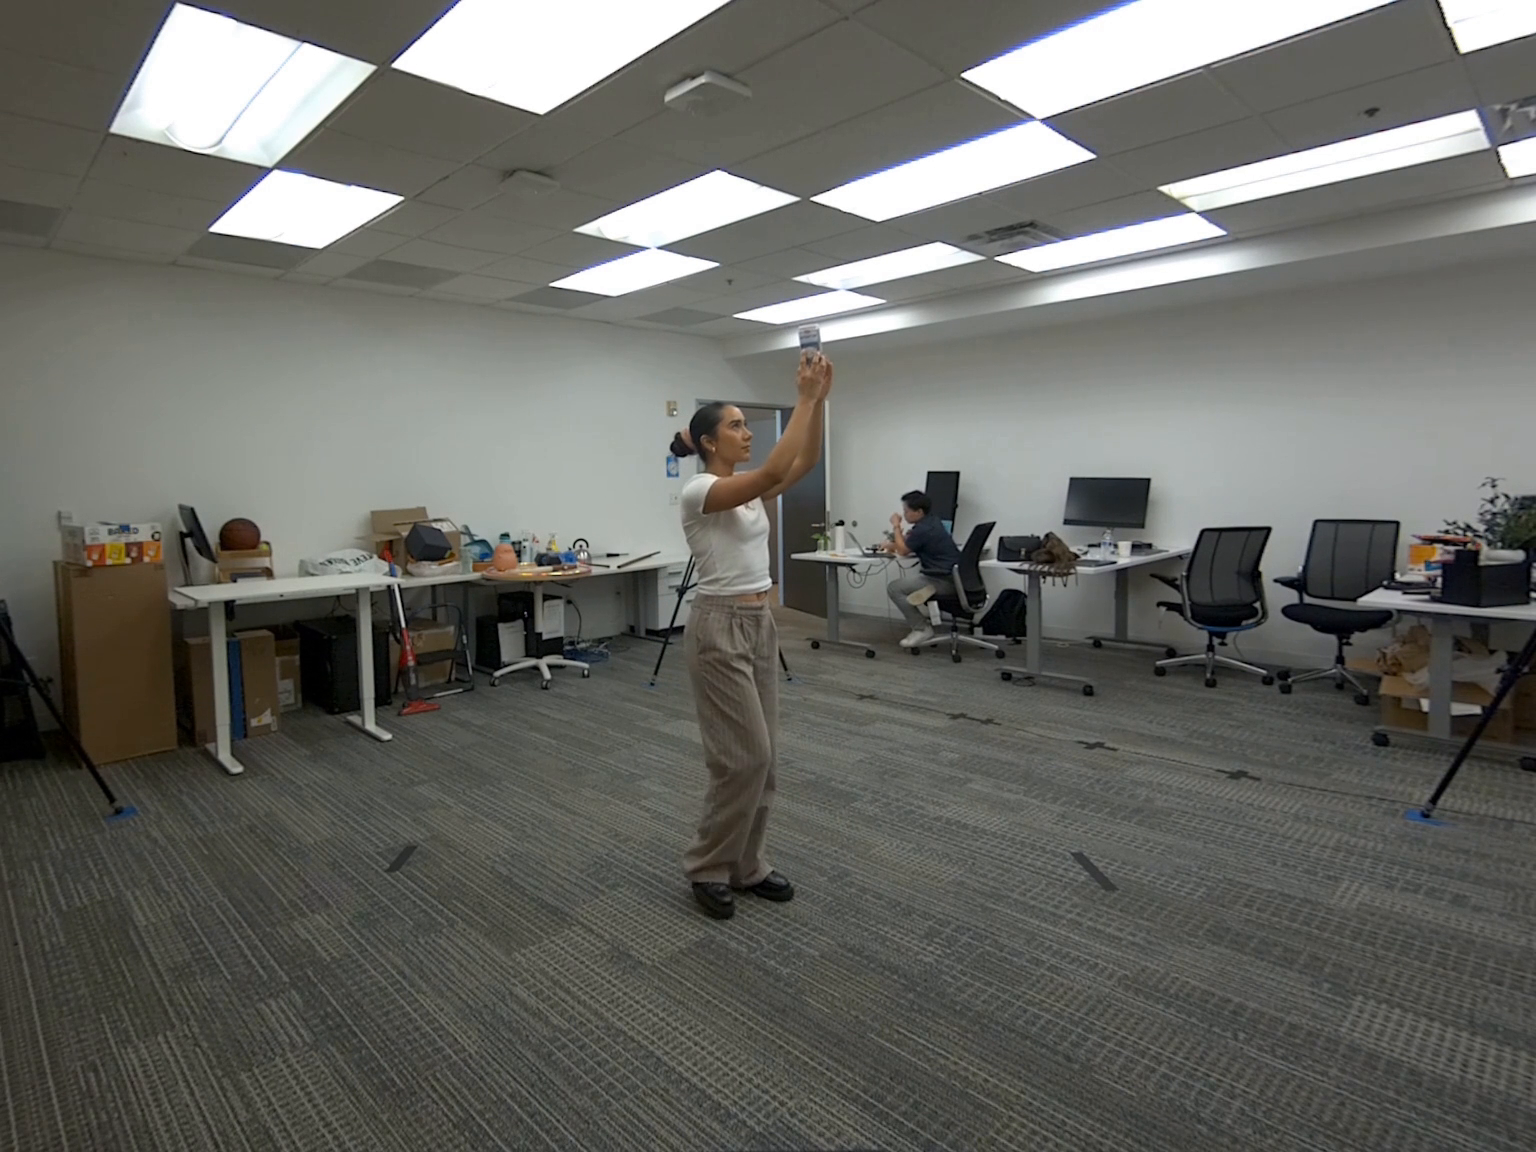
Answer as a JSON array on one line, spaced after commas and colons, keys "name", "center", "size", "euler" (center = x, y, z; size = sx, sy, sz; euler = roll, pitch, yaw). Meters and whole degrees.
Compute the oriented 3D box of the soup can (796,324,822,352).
[{"name": "soup can", "center": [0.132, -0.711, 2.619], "size": [0.067, 0.121, 0.067], "euler": [-5, 8, -1]}]
